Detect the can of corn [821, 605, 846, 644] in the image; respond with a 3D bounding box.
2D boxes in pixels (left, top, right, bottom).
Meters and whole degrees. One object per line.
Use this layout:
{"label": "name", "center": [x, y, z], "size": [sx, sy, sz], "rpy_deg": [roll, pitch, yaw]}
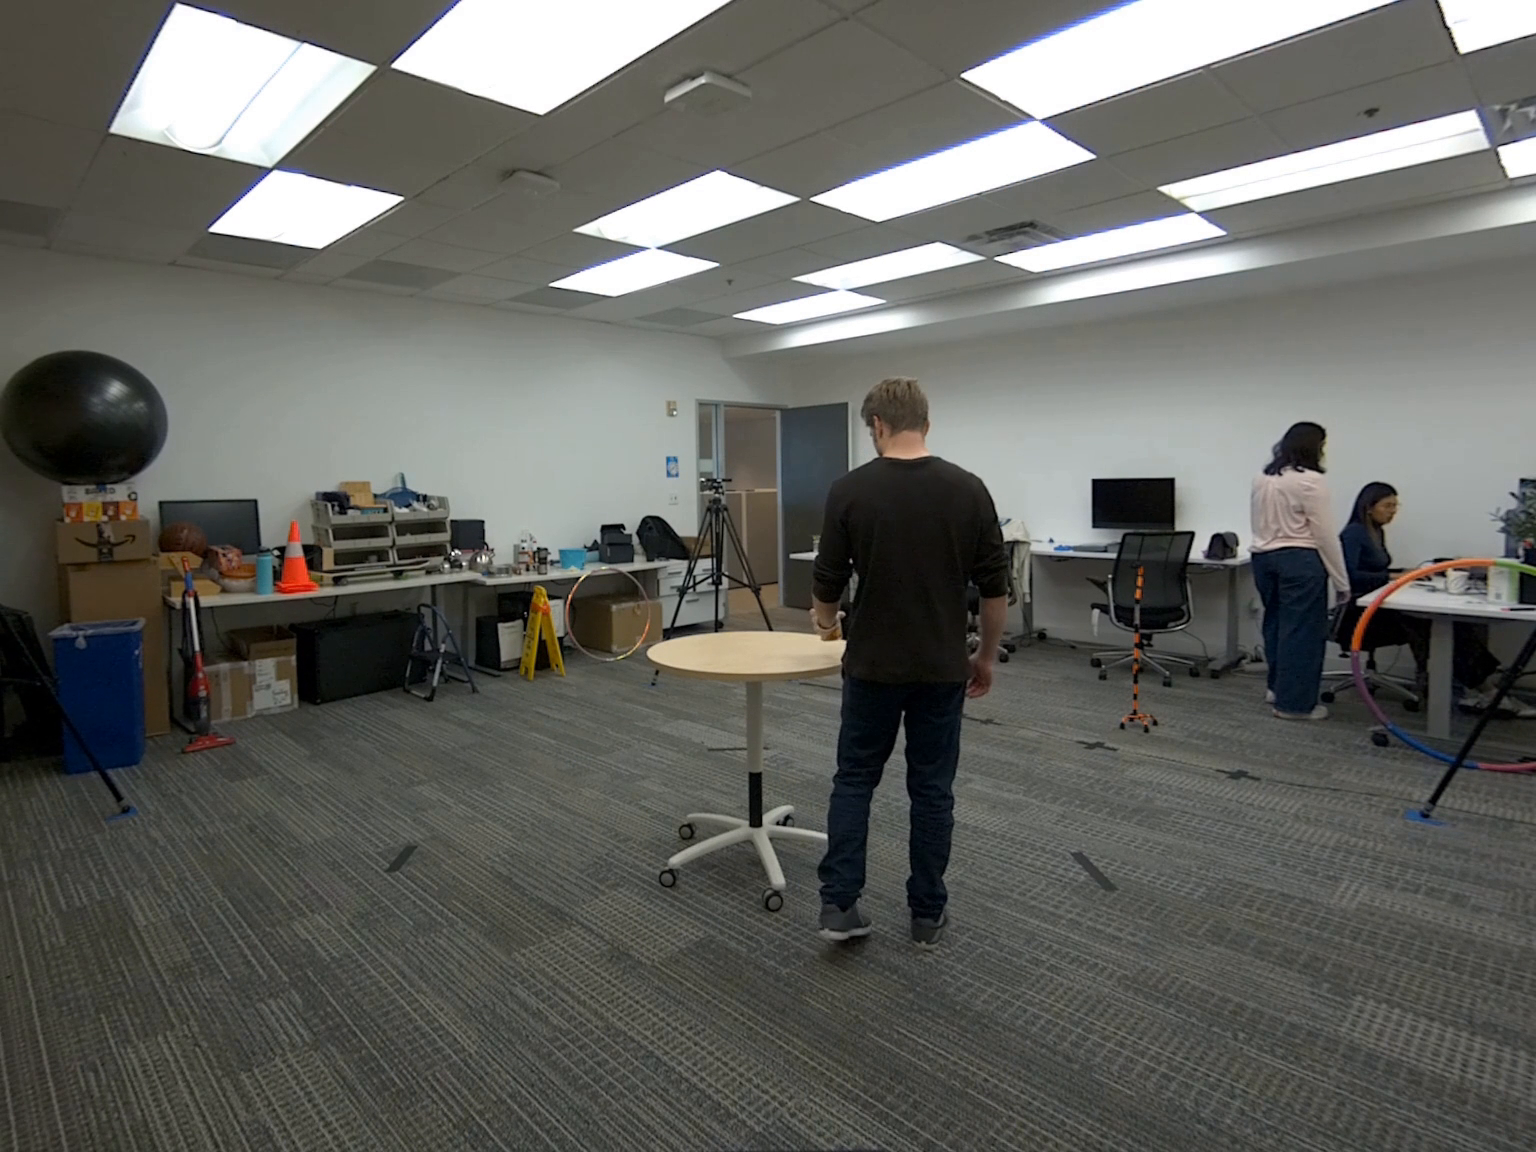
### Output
{"label": "can of corn", "center": [0.217, 0.161, 2.905], "size": [0.074, 0.110, 0.075], "rpy_deg": [-5, 6, -1]}
